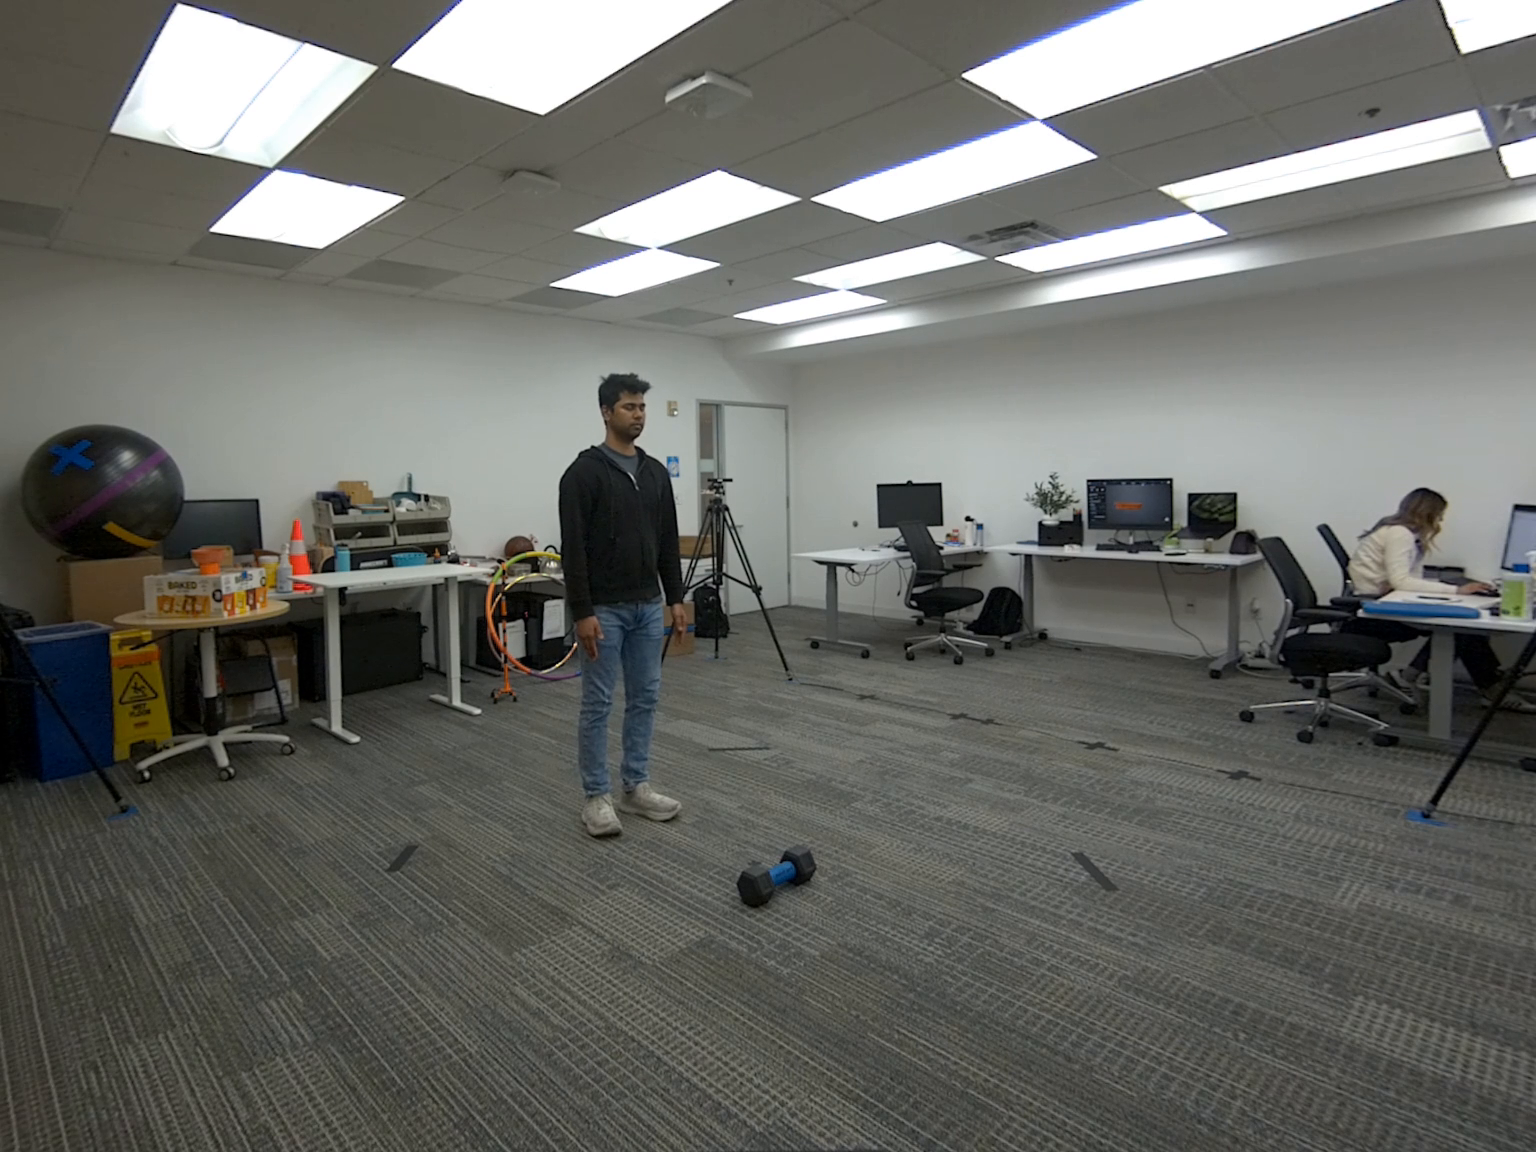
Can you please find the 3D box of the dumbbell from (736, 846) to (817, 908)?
[{"bbox_3d":[0.036,1.012,2.893,0.286,0.125,0.109,-6,-24,-46],"label":"dumbbell"}]
